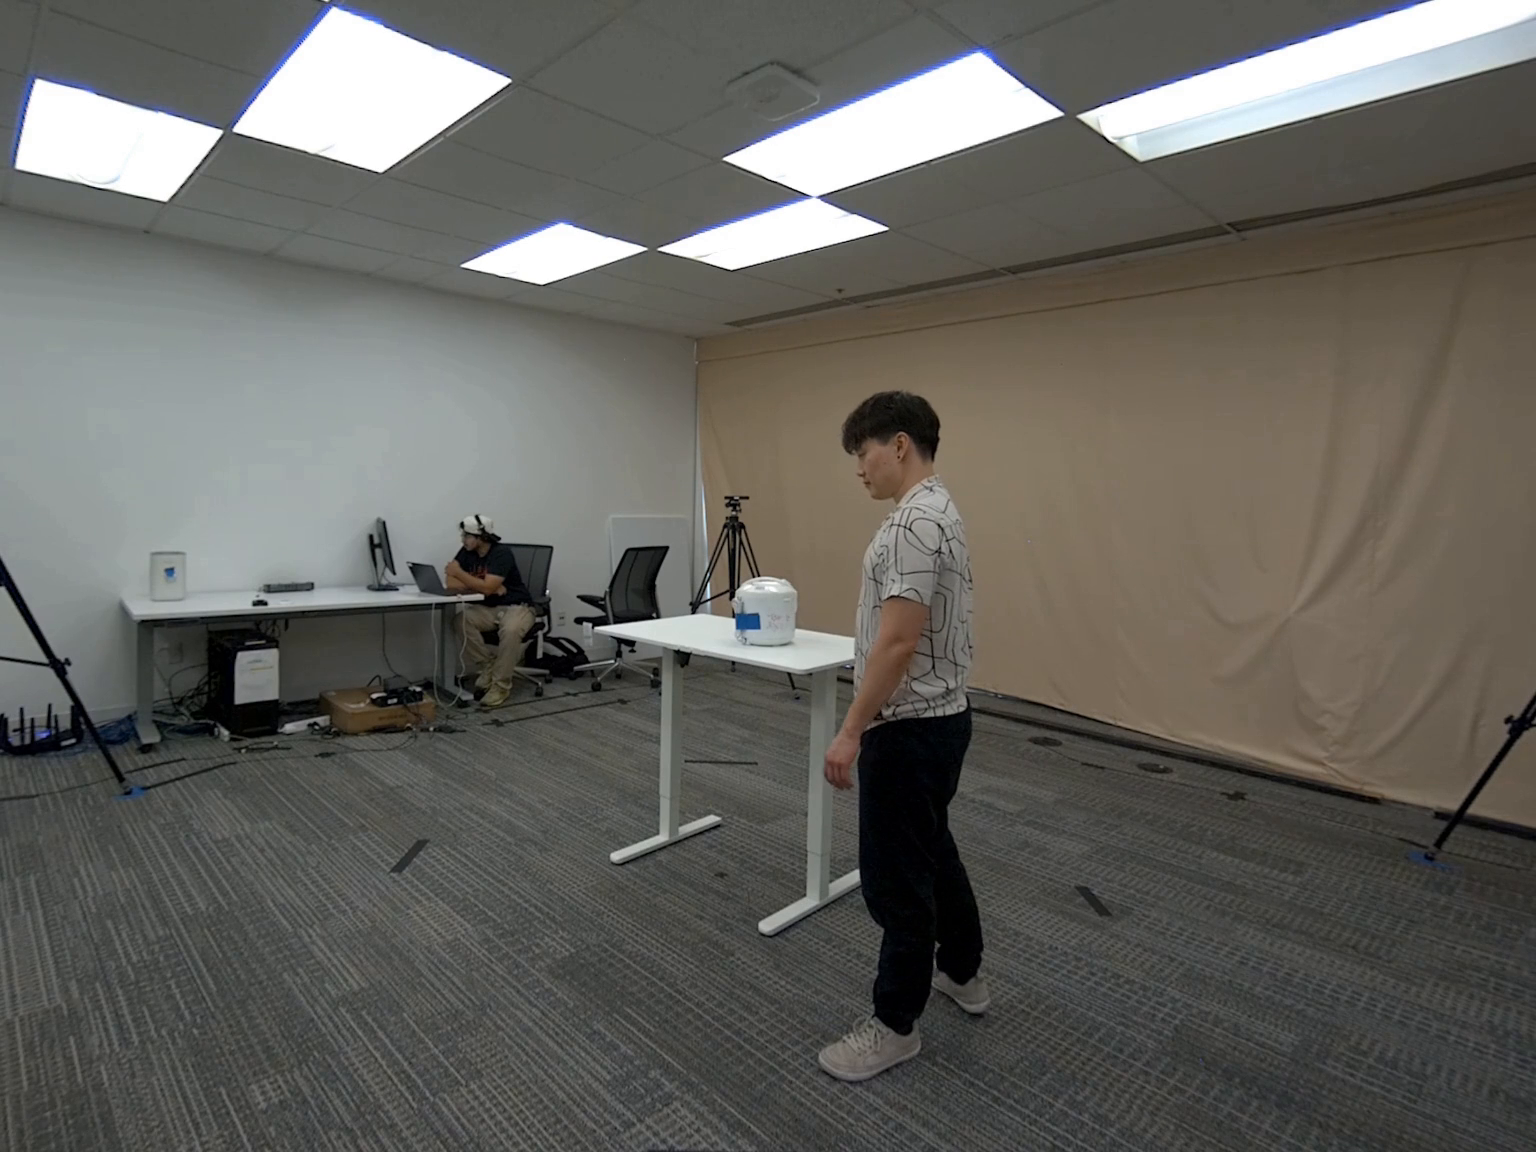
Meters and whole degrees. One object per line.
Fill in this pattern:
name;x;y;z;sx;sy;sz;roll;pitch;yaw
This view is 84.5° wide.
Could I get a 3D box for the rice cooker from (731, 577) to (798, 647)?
rice cooker;-0.013;0.119;2.979;0.222;0.232;0.216;3;5;10
